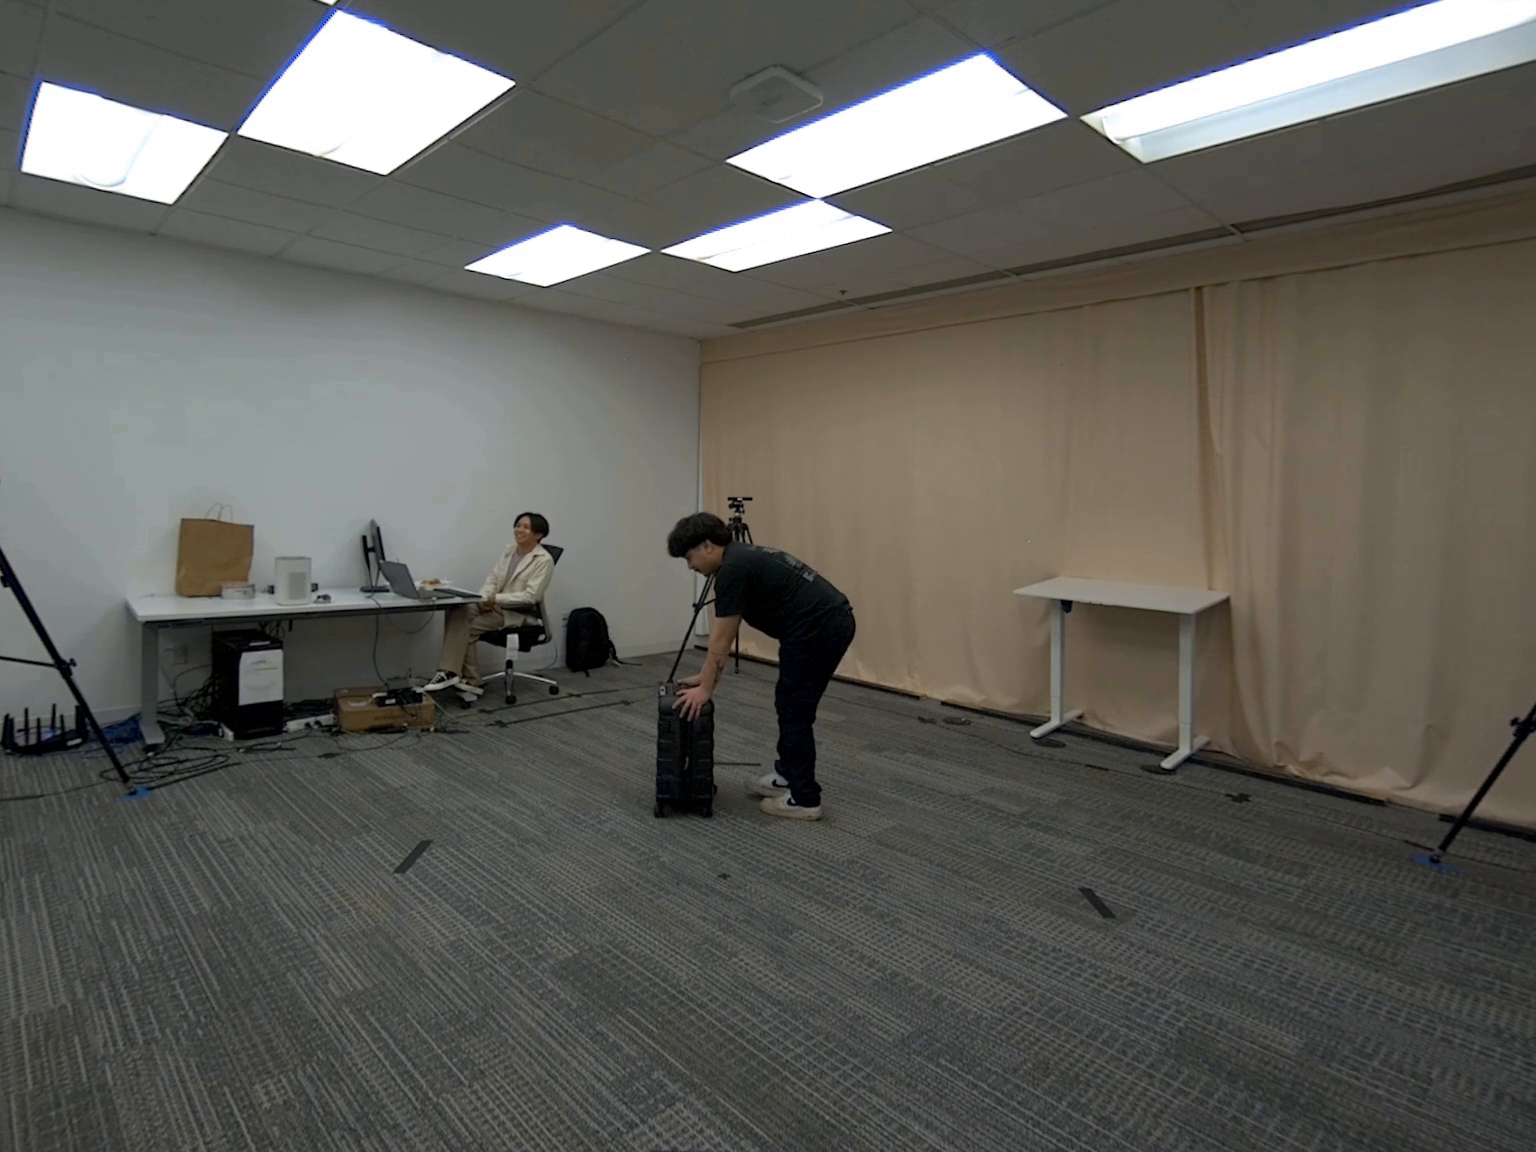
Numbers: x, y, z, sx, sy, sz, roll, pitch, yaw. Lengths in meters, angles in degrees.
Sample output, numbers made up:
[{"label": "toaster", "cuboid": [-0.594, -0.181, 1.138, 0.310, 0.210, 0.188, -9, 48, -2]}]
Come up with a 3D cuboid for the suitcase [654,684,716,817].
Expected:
[{"label": "suitcase", "cuboid": [-0.379, 0.761, 3.796, 0.247, 0.547, 0.378, 1, 5, -5]}]
